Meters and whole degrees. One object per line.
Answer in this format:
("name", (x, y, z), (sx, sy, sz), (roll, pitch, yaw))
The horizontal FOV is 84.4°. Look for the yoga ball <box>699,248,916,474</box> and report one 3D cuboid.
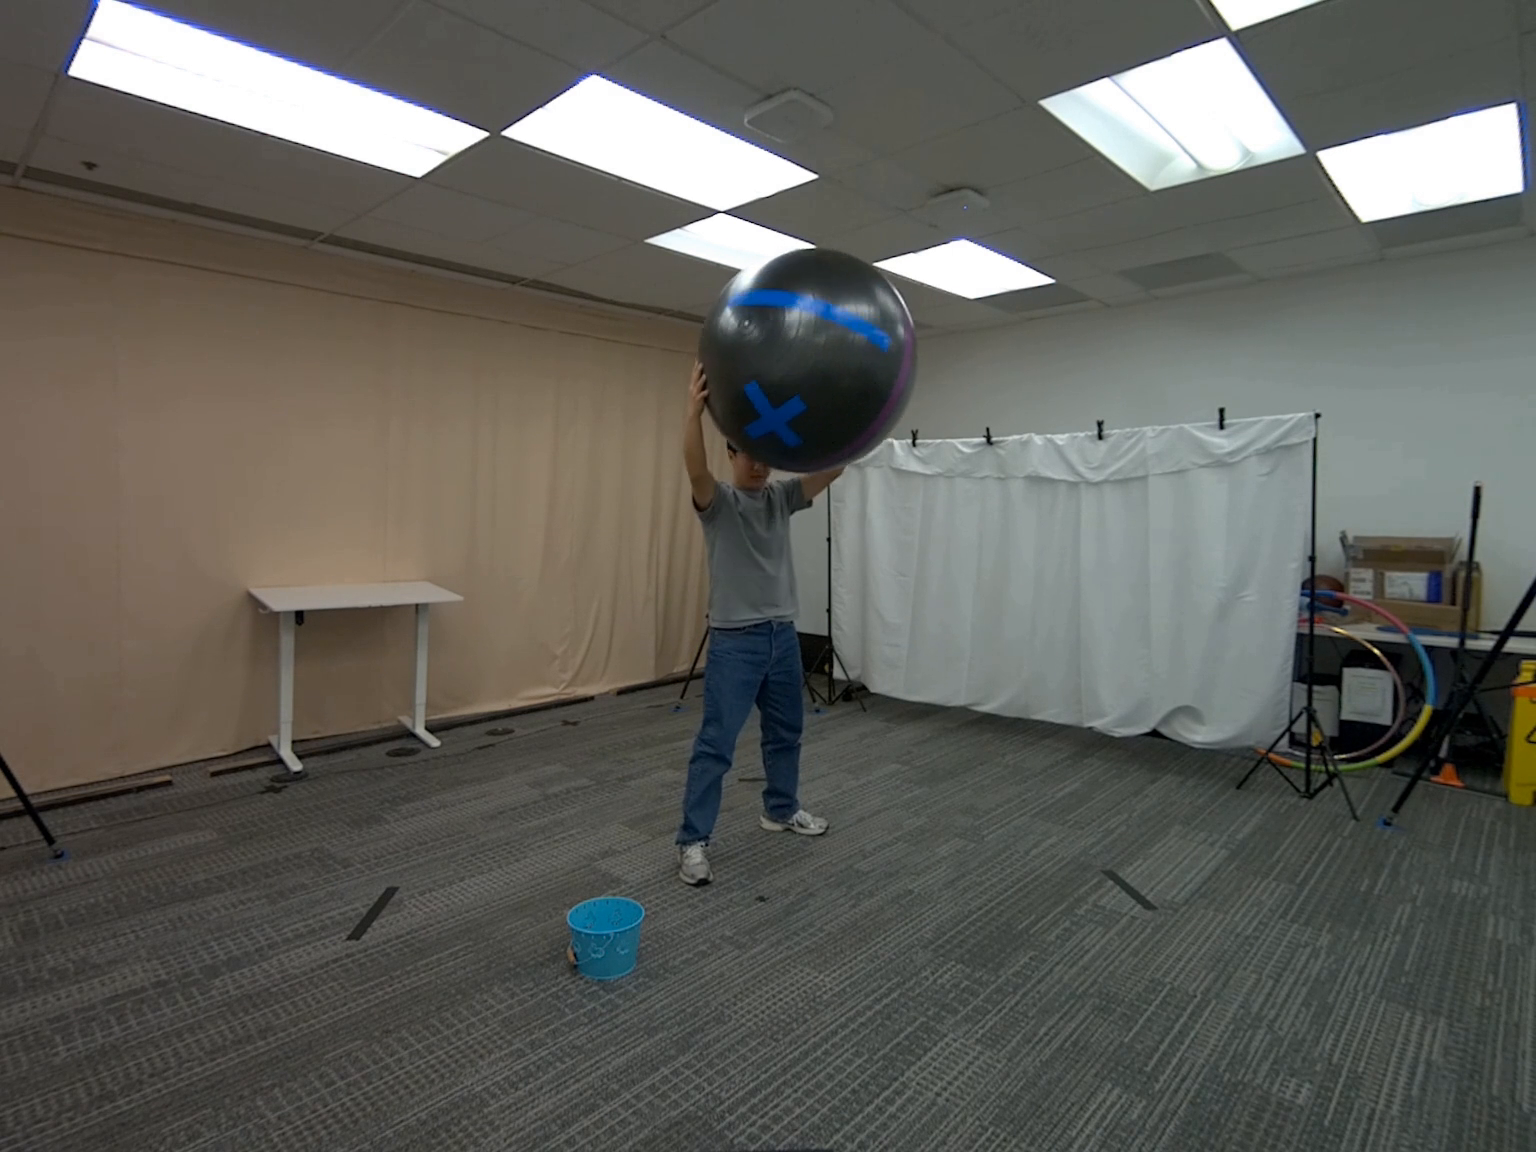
("yoga ball", (0.116, -0.714, 2.922), (0.757, 0.756, 0.760), (0, 4, -2))
